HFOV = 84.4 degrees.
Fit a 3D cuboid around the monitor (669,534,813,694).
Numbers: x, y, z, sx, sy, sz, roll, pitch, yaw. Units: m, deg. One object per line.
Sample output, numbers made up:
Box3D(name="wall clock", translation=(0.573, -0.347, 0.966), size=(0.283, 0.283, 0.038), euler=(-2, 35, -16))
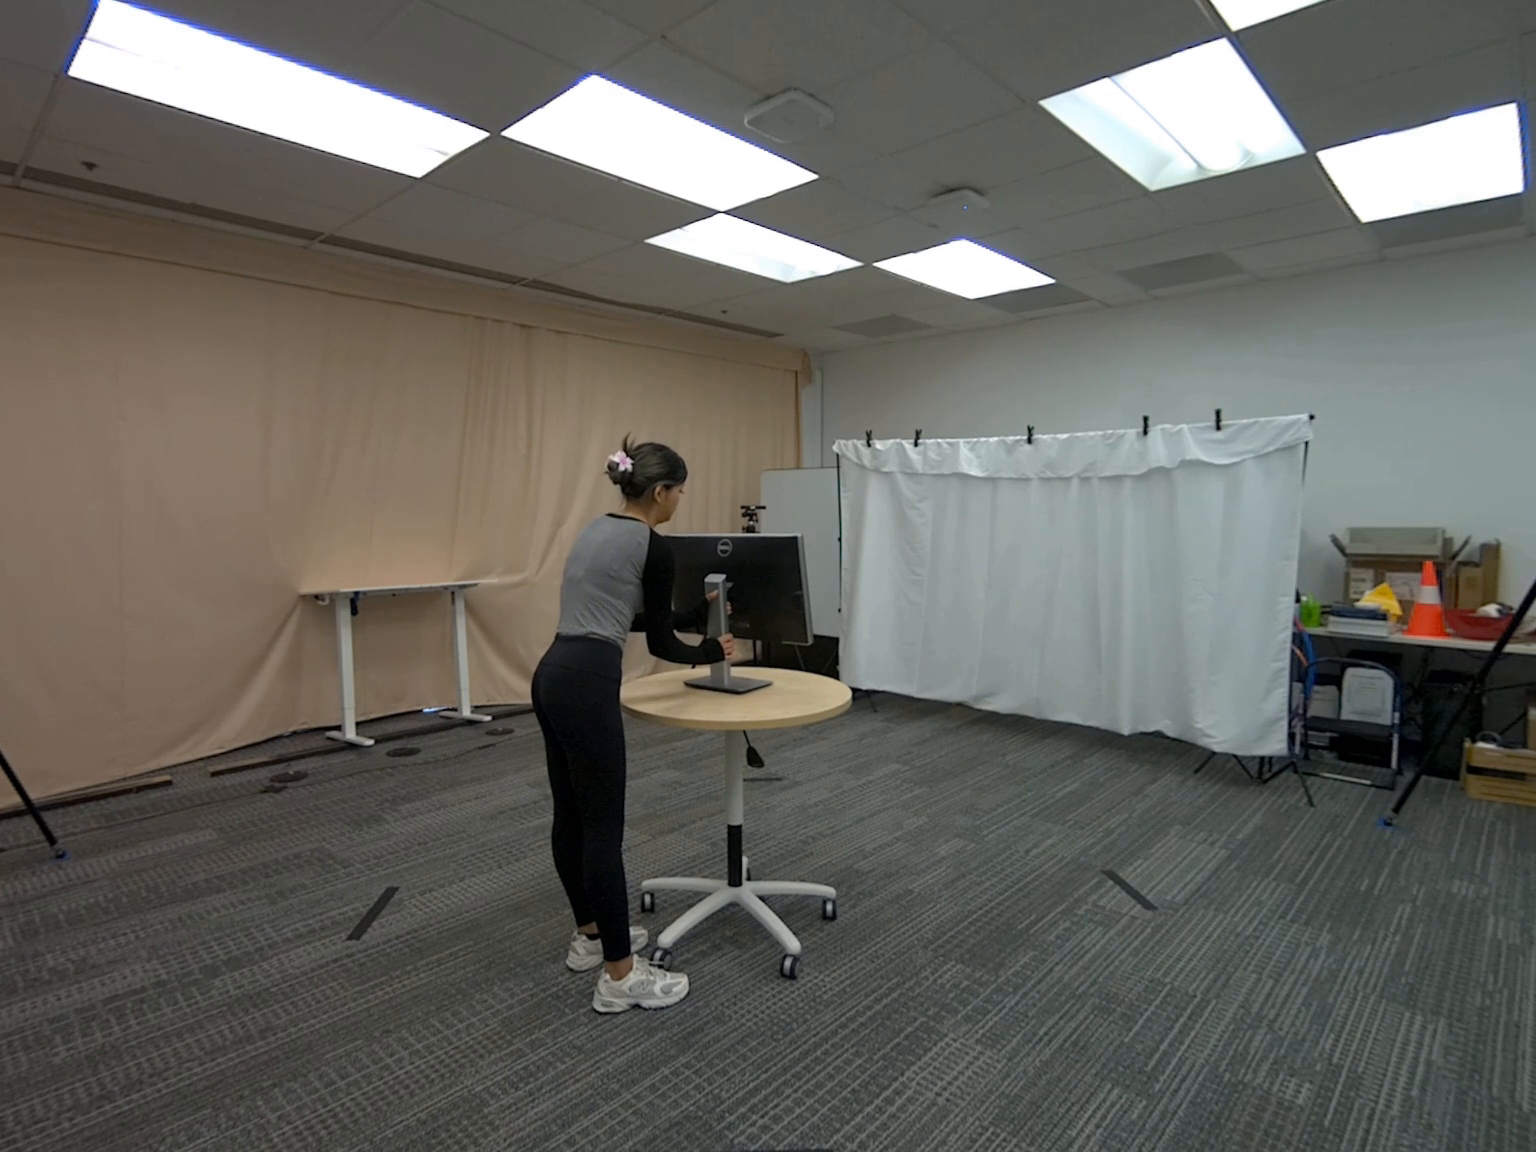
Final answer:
Box3D(name="monitor", translation=(-0.128, 0.119, 2.818), size=(0.546, 0.517, 0.169), euler=(0, -6, 35))
